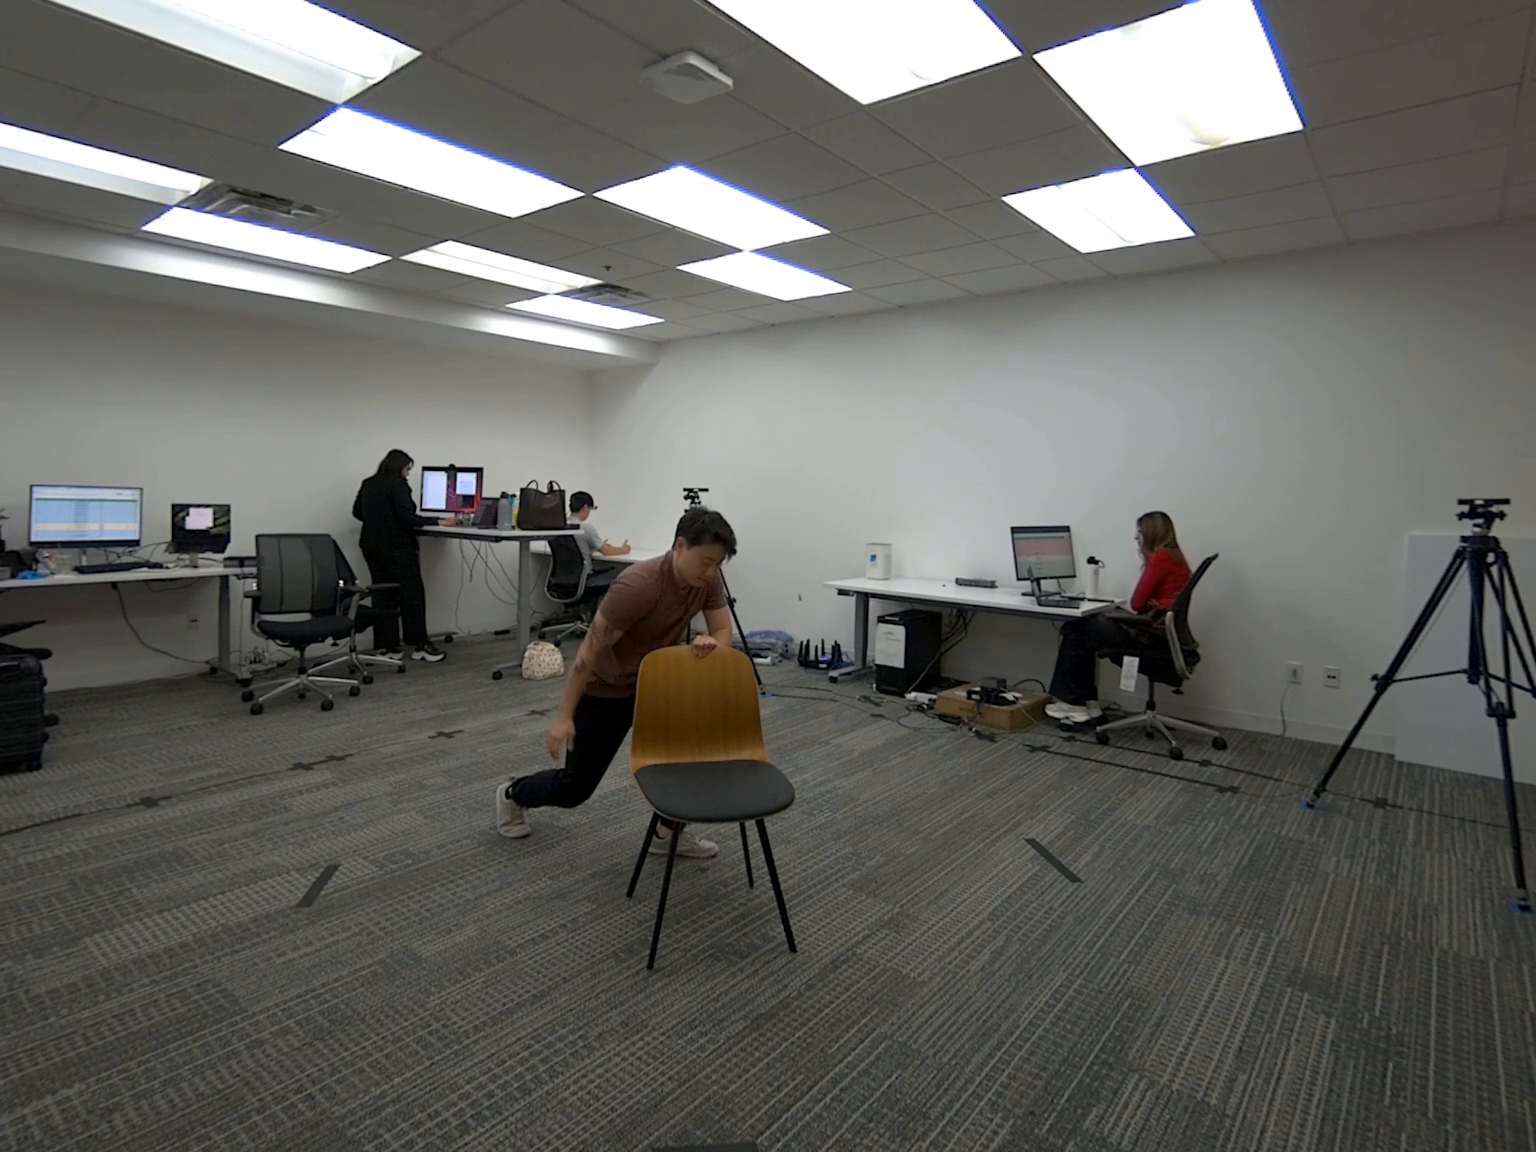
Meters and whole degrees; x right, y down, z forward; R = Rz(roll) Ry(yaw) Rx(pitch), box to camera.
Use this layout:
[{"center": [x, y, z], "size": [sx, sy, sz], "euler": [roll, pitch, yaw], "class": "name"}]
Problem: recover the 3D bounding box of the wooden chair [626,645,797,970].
[{"center": [-0.187, 0.684, 2.685], "size": [0.470, 0.878, 0.531], "euler": [1, -1, -16], "class": "wooden chair"}]
